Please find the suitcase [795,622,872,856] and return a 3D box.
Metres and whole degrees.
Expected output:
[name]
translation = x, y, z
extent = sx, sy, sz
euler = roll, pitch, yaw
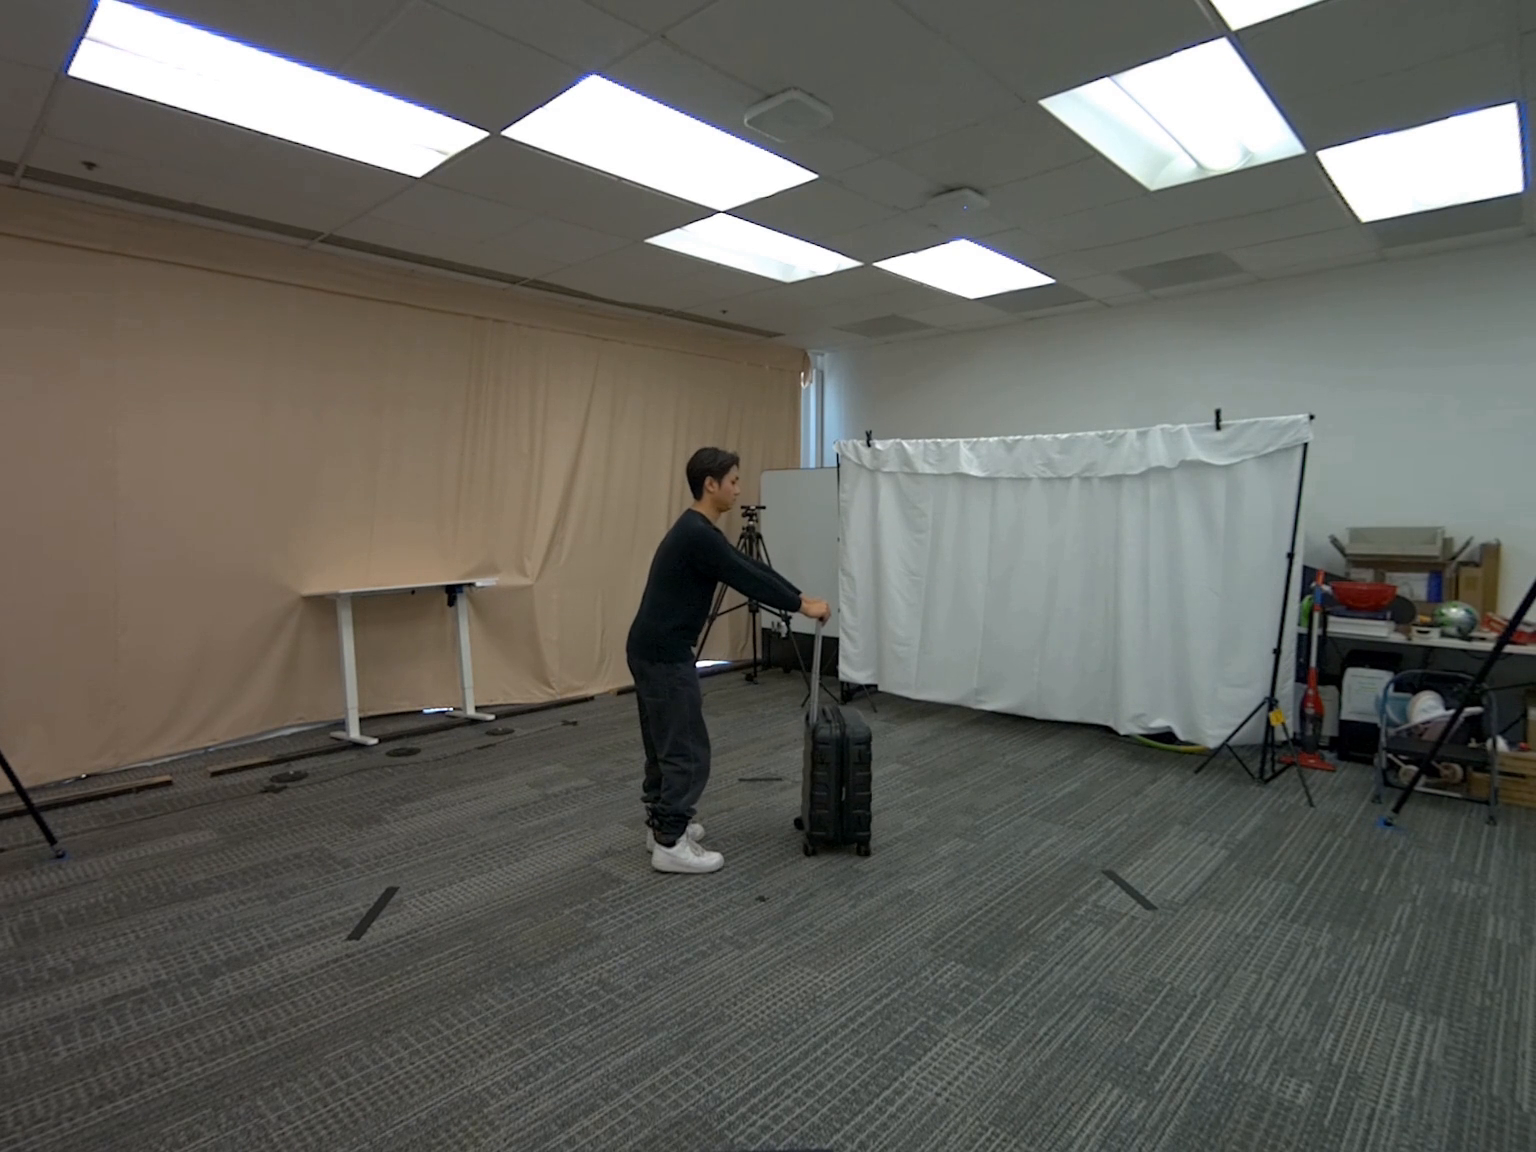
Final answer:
[suitcase]
translation = 0.291, 0.629, 3.449
extent = 0.257, 0.976, 0.386
euler = 3, 4, -3
